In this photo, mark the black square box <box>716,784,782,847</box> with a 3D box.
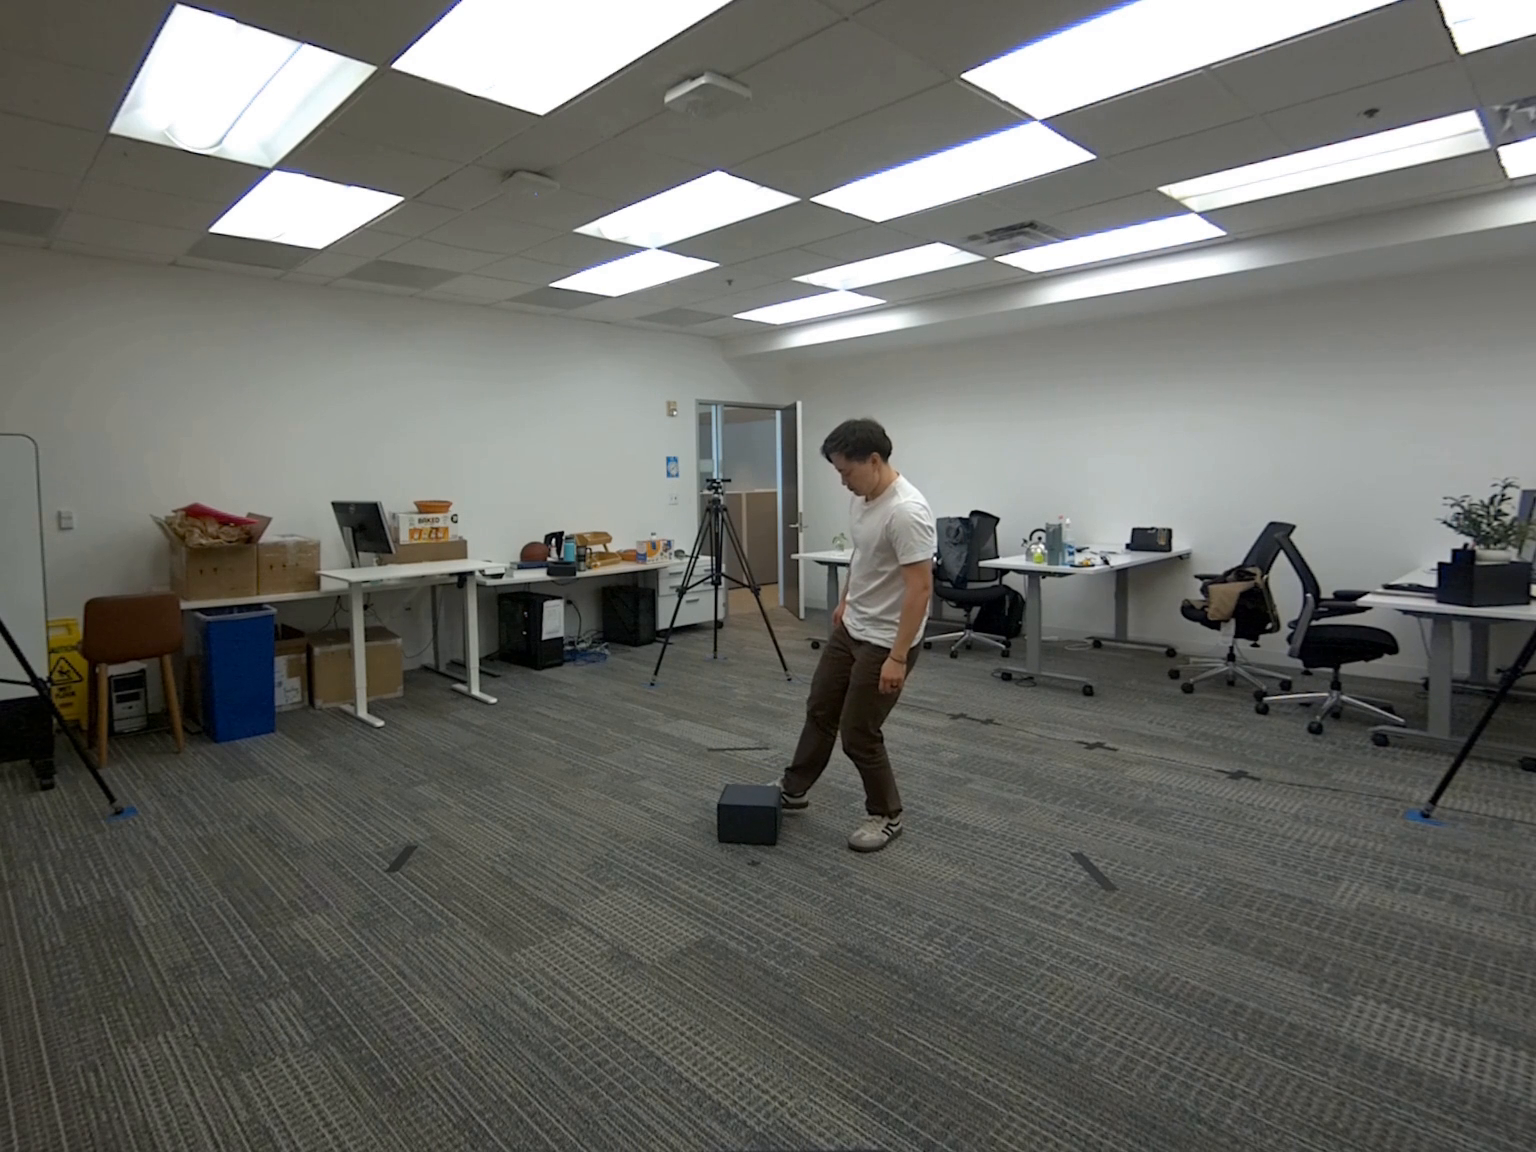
[{"bbox_3d":[-0.071,0.932,3.369,0.230,0.155,0.216,0,5,8],"label":"black square box"}]
